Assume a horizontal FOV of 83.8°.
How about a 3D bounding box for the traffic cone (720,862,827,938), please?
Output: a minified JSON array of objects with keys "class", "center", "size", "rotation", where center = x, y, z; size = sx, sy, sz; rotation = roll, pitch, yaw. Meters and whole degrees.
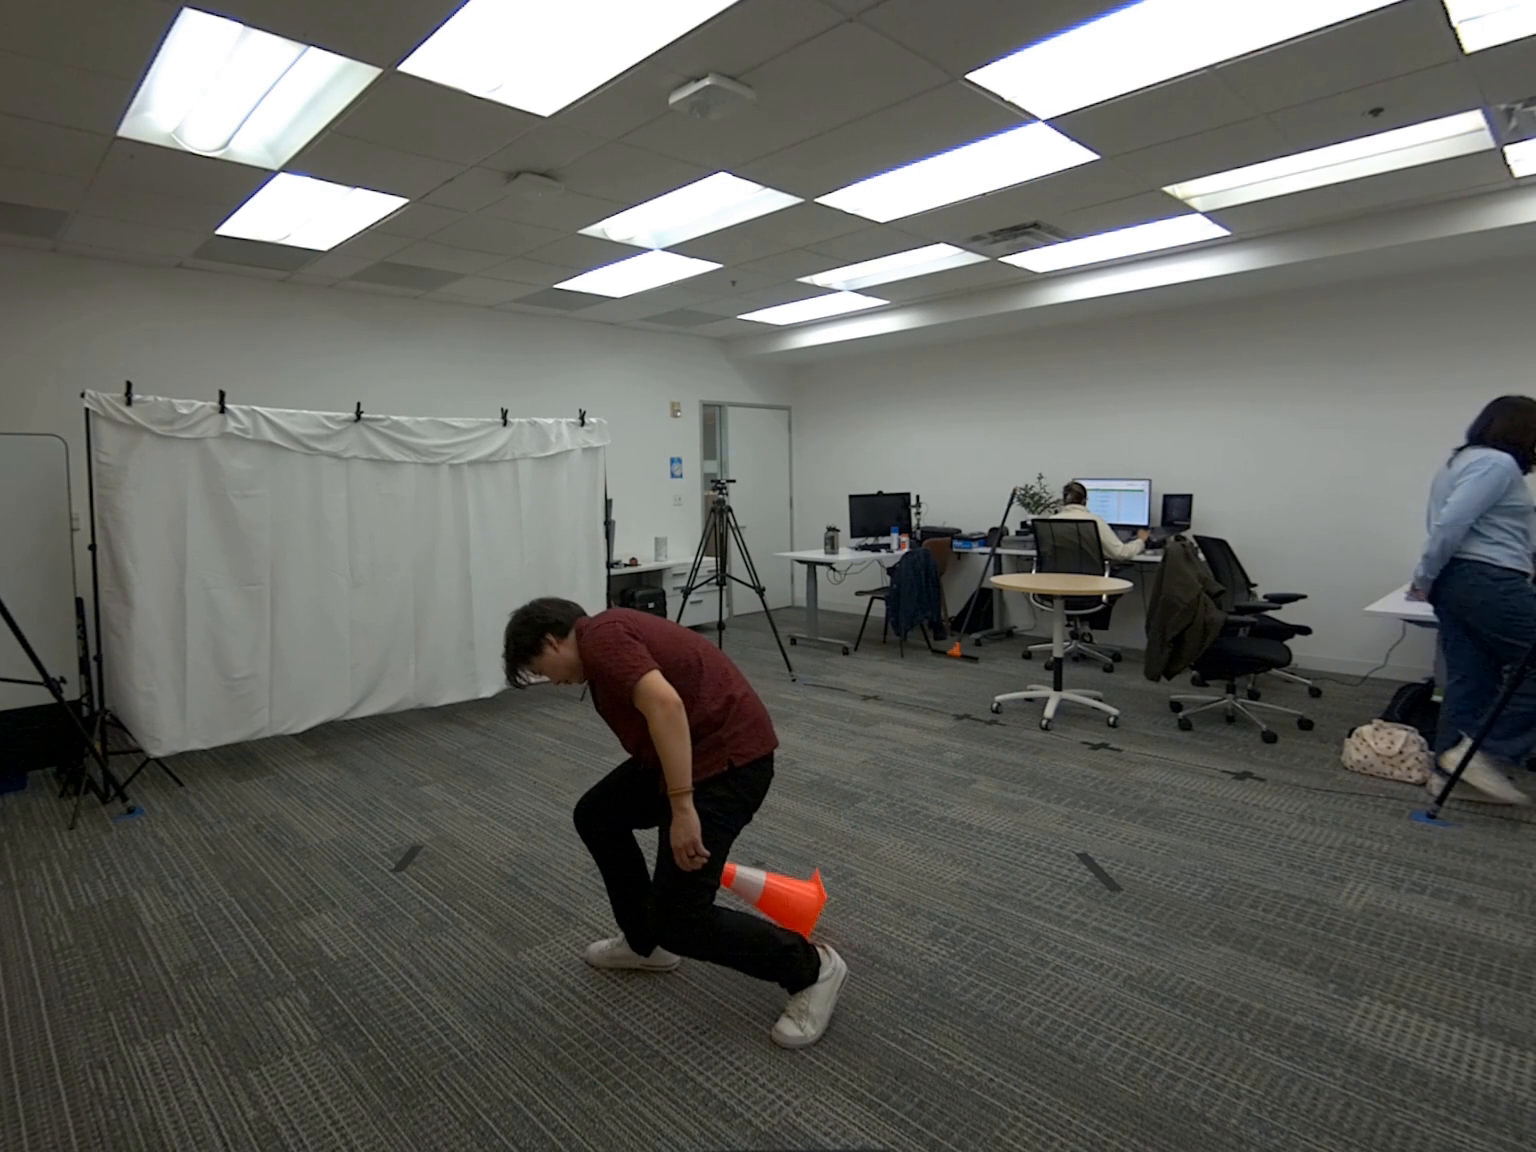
[{"class":"traffic cone","center":[-0.041,0.941,2.569],"size":[0.381,0.202,0.207],"rotation":[23,8,-6]}]
